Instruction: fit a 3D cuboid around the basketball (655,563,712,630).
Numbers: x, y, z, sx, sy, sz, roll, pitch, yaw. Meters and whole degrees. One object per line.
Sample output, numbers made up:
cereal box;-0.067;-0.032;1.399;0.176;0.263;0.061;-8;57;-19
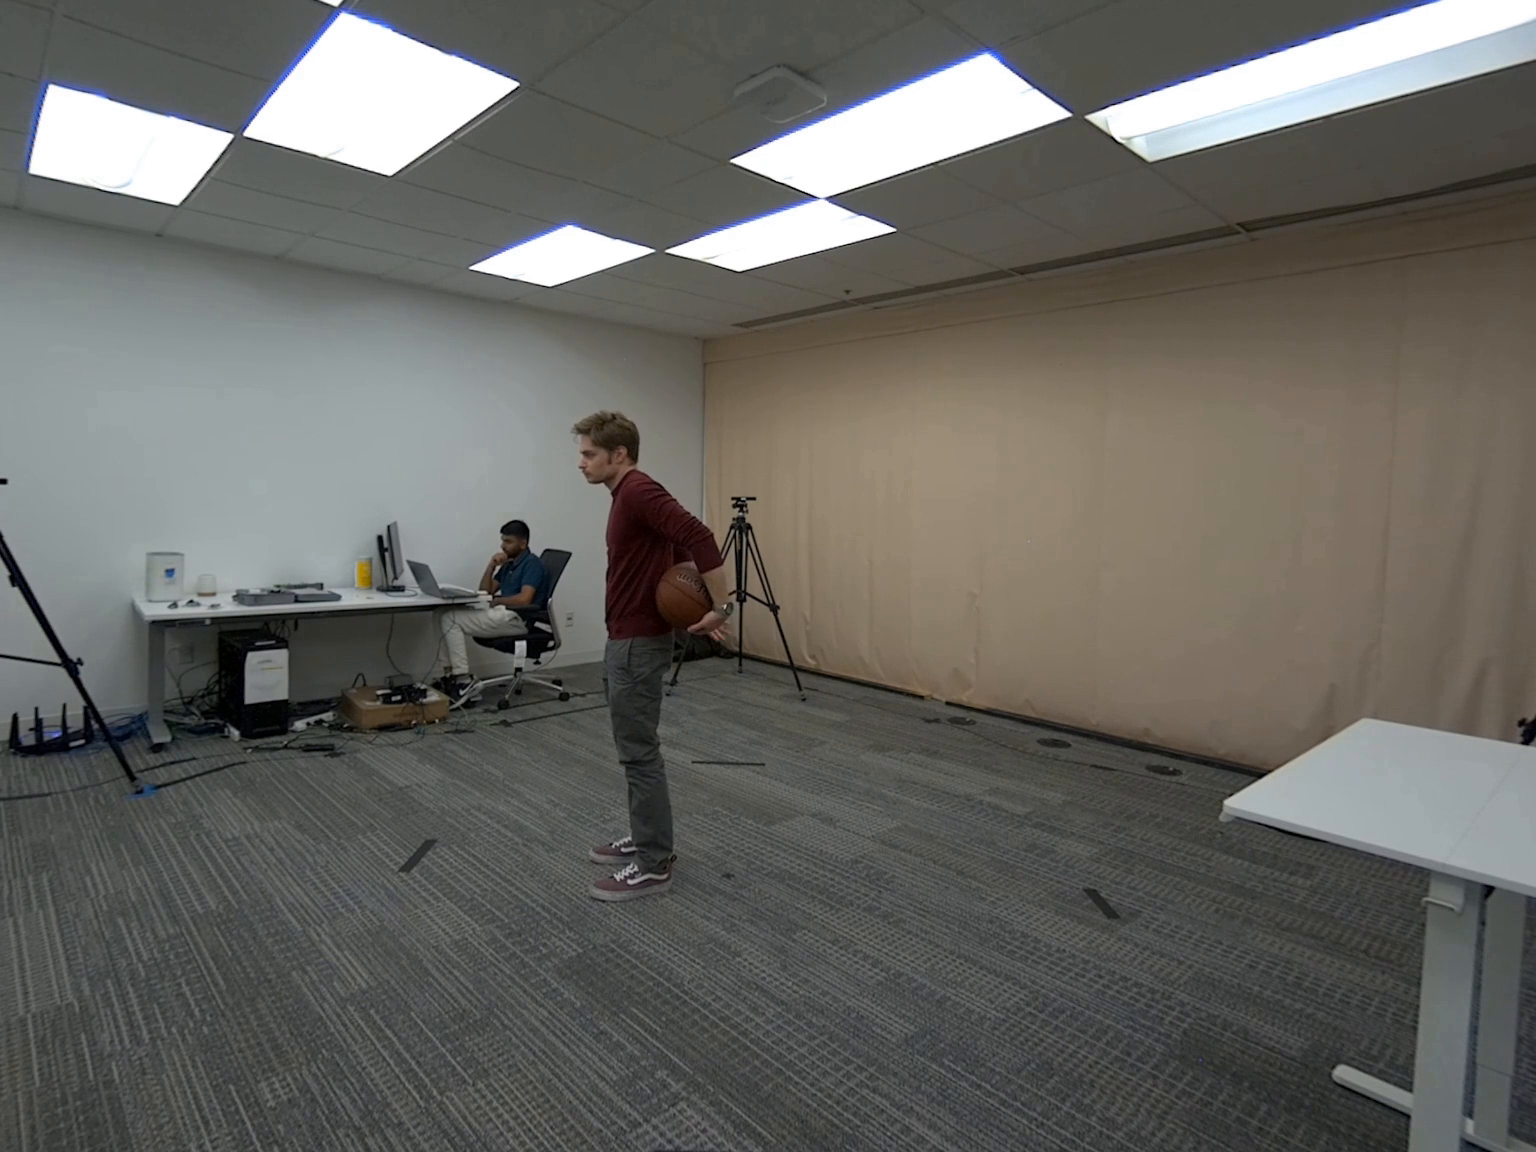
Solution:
basketball;-0.272;0.069;2.912;0.236;0.235;0.237;1;4;-1
